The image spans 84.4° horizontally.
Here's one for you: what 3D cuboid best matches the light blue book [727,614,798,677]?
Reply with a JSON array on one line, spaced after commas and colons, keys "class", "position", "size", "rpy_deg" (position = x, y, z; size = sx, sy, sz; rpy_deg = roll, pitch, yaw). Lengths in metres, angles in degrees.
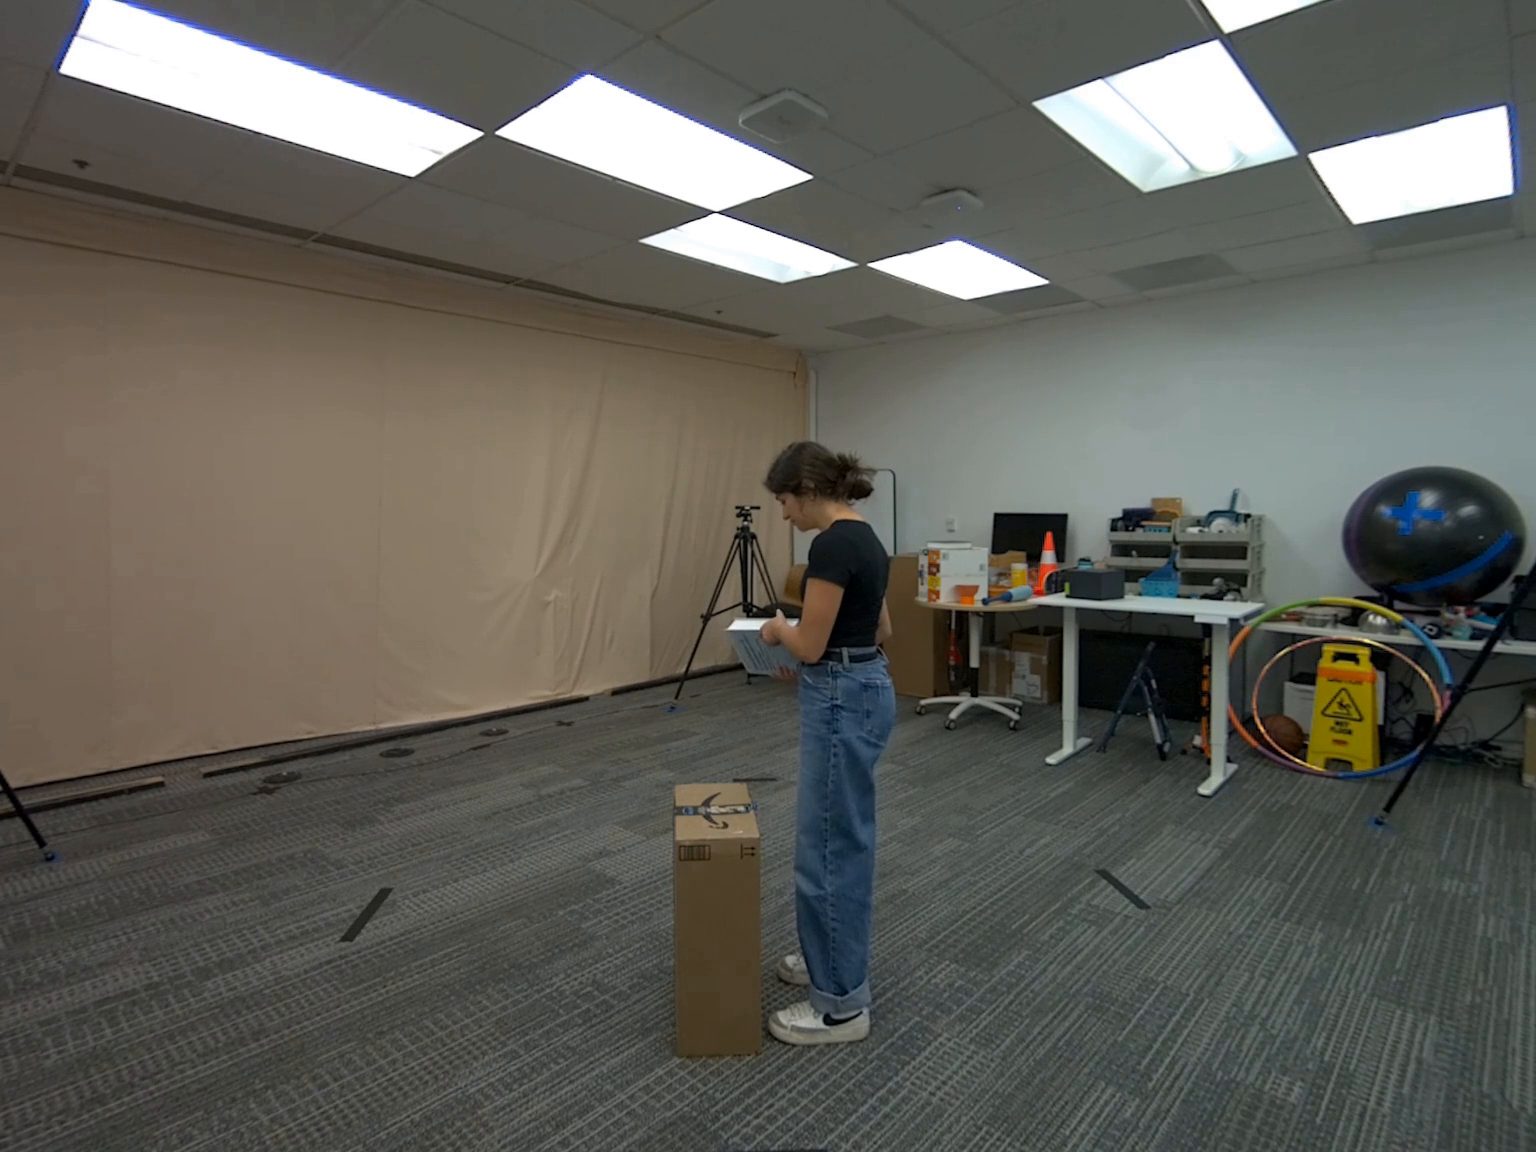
[{"class": "light blue book", "position": [0.014, 0.225, 2.595], "size": [0.269, 0.187, 0.058], "rpy_deg": [-2, 34, 42]}]
